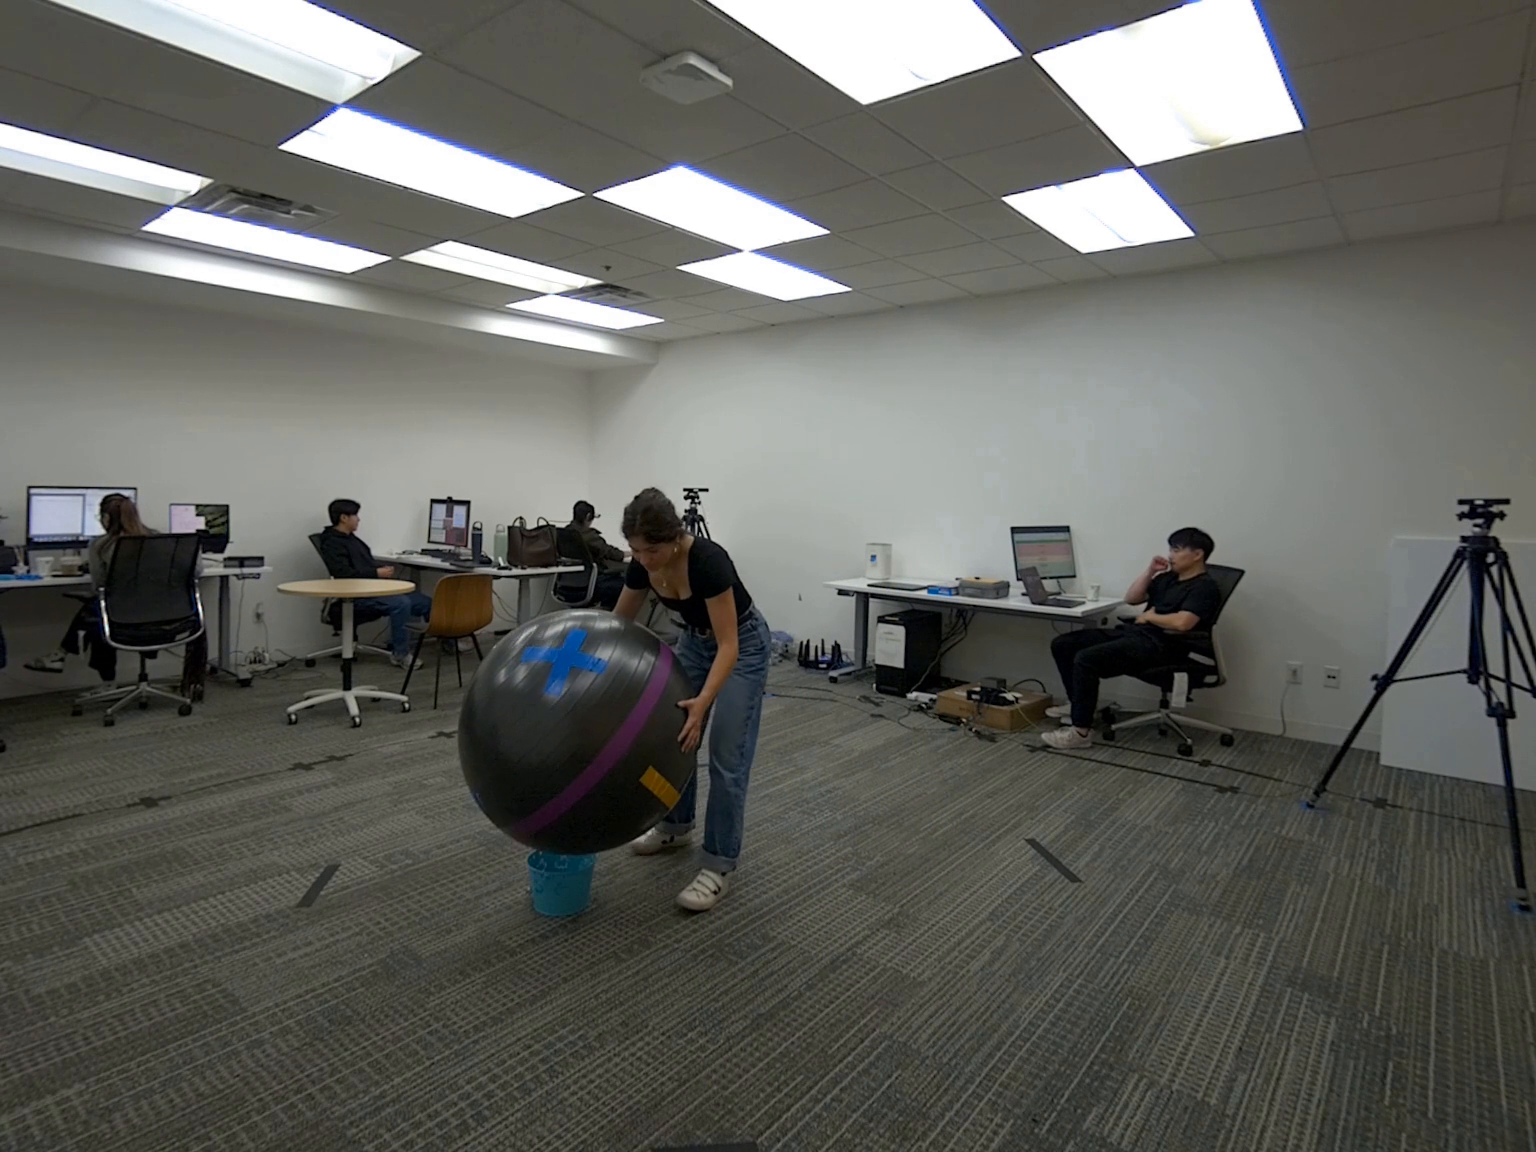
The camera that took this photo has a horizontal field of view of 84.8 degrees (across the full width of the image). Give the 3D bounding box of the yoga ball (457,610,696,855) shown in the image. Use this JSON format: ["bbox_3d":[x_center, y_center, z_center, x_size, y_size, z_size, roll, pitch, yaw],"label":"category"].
[{"bbox_3d":[-0.611,0.498,2.686,0.757,0.755,0.762,1,4,-2],"label":"yoga ball"}]
